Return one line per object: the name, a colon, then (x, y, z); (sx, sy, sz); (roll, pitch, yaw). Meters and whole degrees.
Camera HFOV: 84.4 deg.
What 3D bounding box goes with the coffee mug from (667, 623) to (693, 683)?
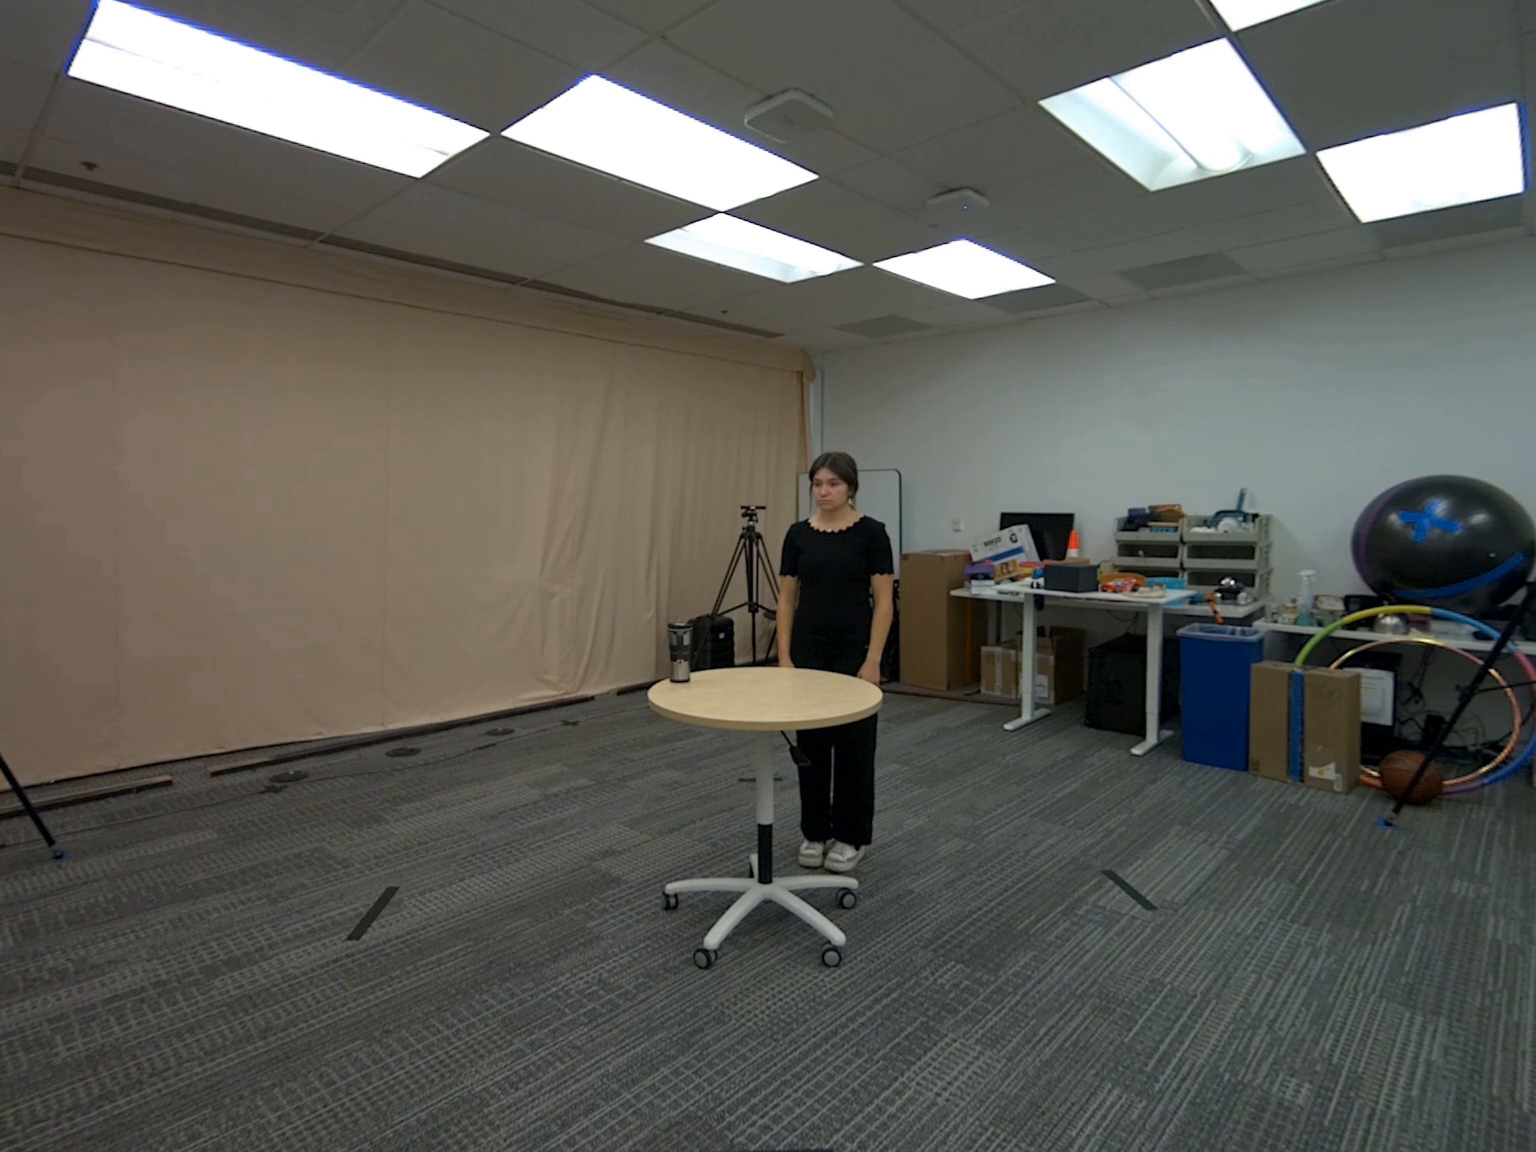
coffee mug: (-0.309, 0.267, 2.903); (0.090, 0.203, 0.118); (4, 3, 30)
